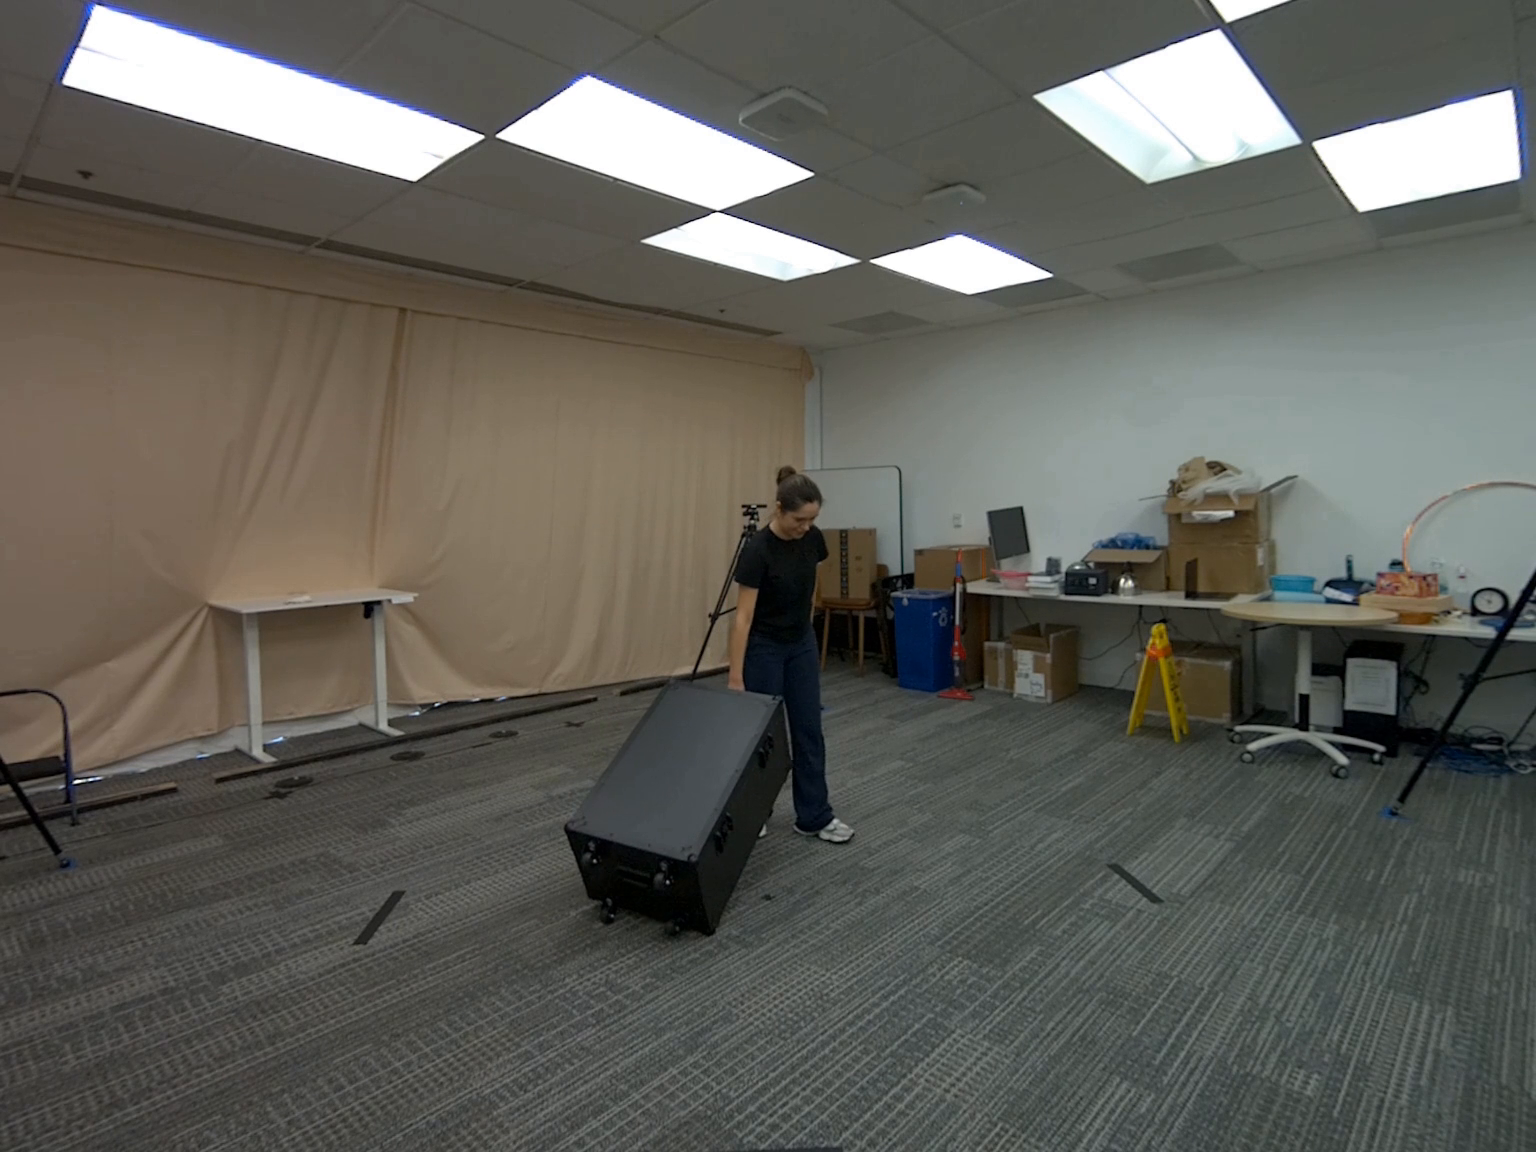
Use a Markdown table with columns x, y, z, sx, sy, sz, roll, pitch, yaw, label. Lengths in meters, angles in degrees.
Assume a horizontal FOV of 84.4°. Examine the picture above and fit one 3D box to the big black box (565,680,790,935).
| x | y | z | sx | sy | sz | roll | pitch | yaw | label |
| --- | --- | --- | --- | --- | --- | --- | --- | --- | --- |
| -0.285 | 0.812 | 3.013 | 0.534 | 0.388 | 0.858 | 5 | 34 | 23 | big black box |
